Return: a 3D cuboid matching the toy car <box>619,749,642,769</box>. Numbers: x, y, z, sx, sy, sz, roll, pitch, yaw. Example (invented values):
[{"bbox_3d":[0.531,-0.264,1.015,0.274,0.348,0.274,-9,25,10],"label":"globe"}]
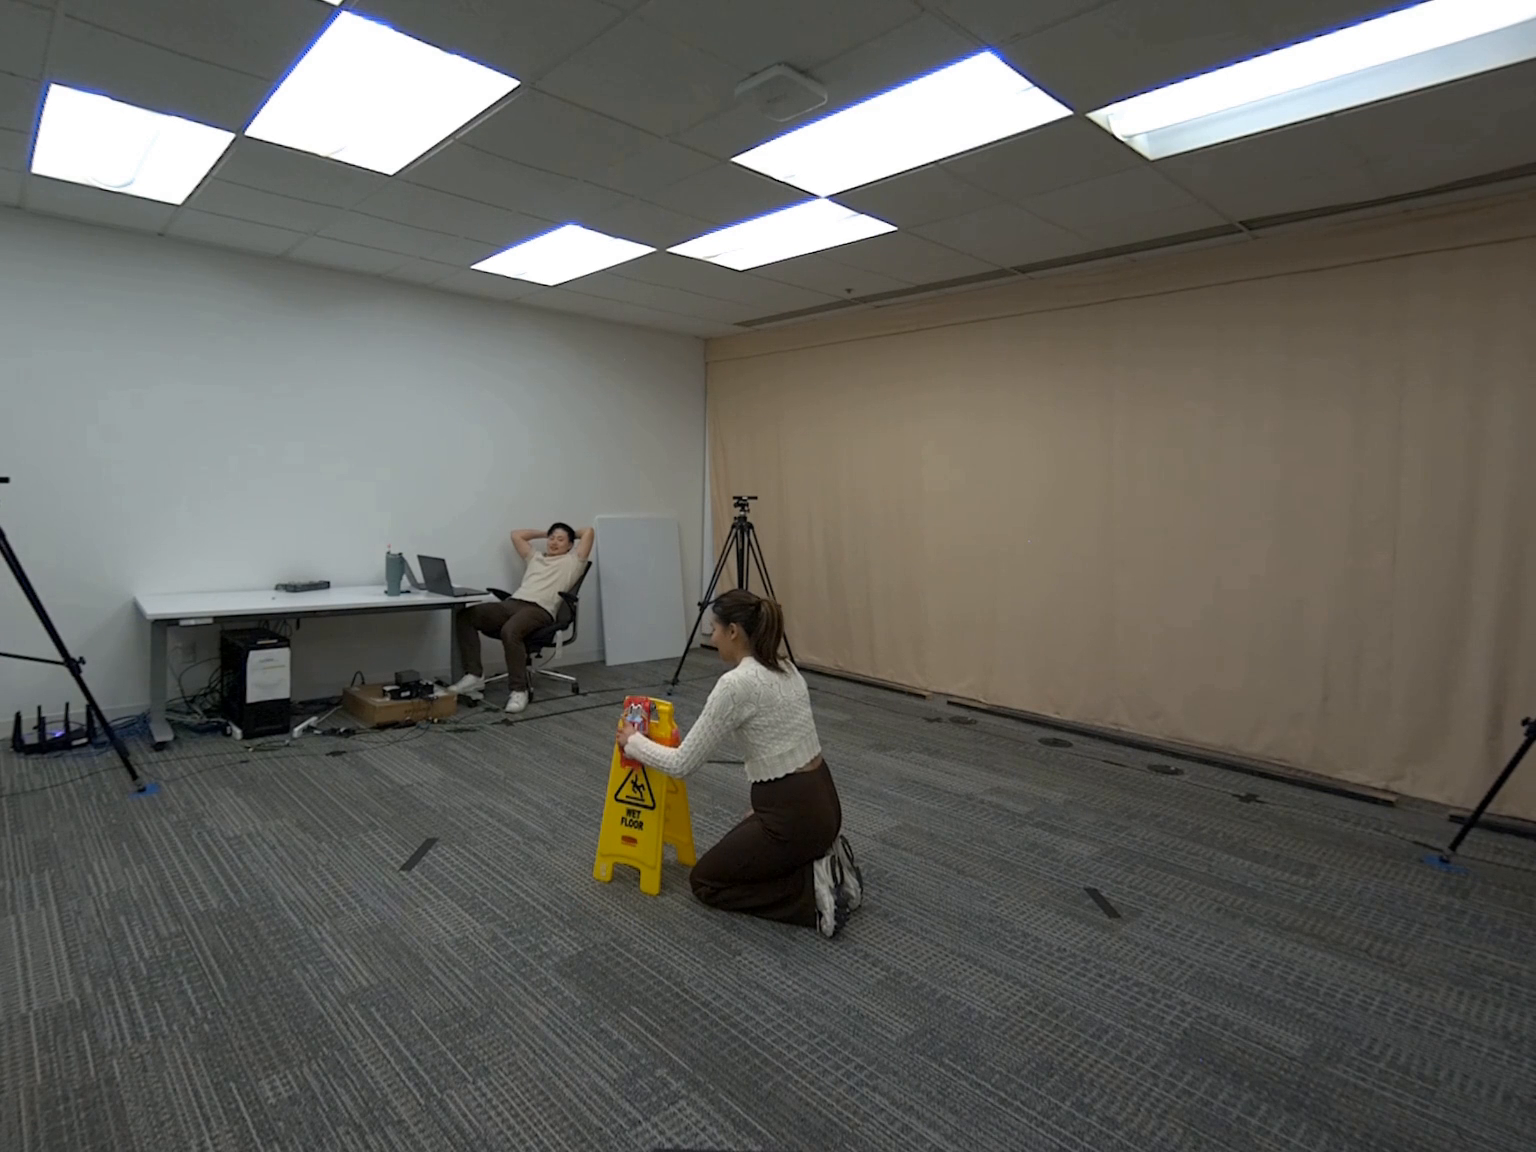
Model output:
[{"bbox_3d":[-0.459,0.575,3.016,0.133,0.257,0.080,3,-23,36],"label":"toy car"}]
